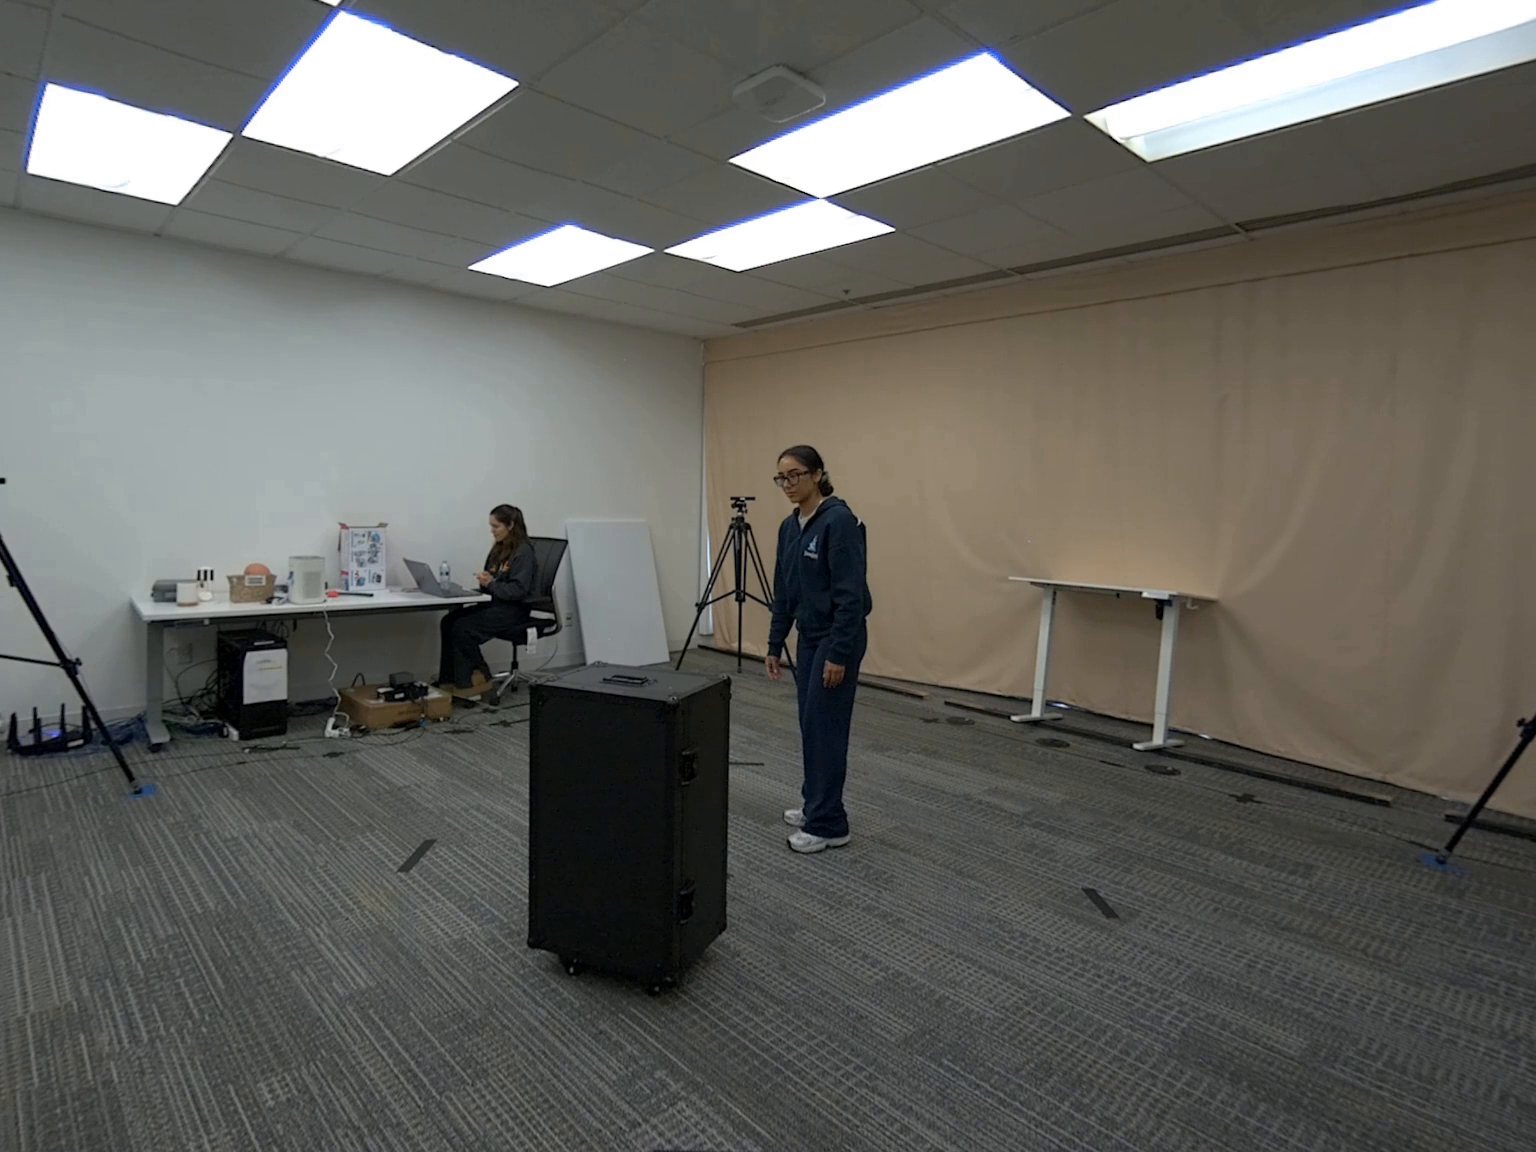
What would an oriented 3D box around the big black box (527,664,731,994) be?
[{"bbox_3d":[-0.411,0.732,2.508,0.531,0.860,0.390,2,2,23],"label":"big black box"}]
